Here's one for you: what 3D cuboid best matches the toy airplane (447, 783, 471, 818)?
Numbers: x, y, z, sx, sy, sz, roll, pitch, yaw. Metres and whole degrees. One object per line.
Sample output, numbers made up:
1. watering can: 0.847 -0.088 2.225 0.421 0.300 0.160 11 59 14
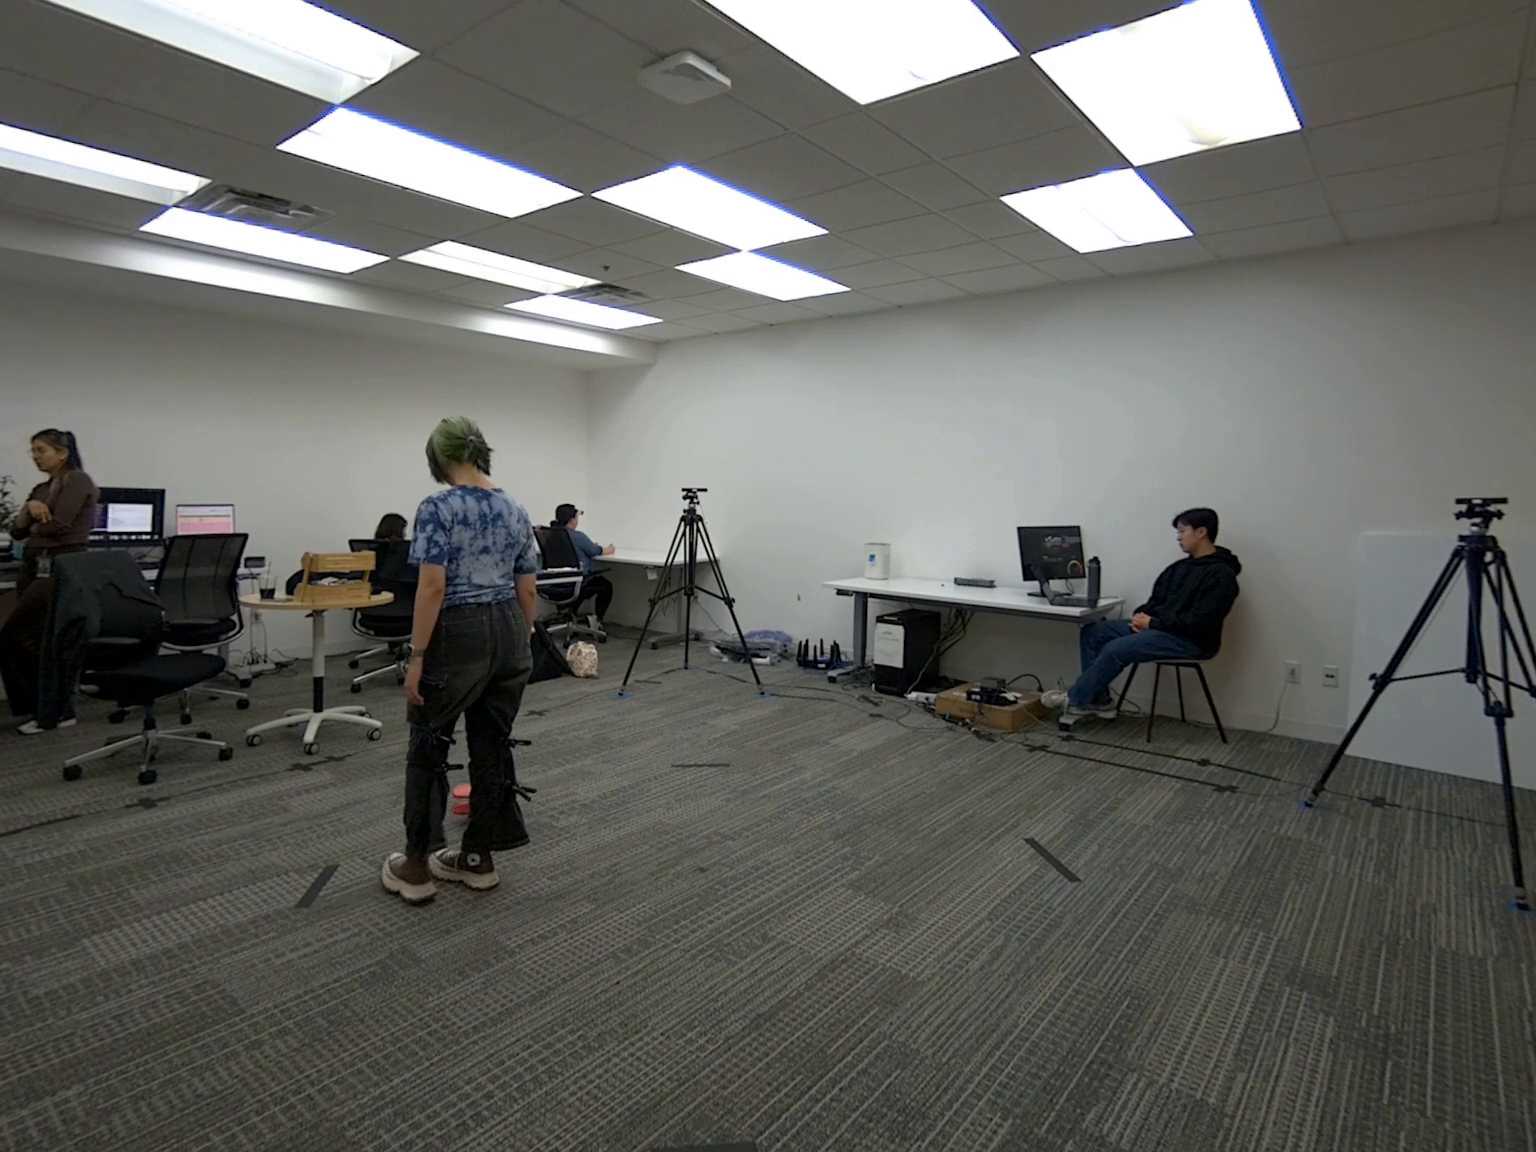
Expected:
1. toy airplane: -1.160 0.940 3.498 0.267 0.156 0.244 3 4 37
